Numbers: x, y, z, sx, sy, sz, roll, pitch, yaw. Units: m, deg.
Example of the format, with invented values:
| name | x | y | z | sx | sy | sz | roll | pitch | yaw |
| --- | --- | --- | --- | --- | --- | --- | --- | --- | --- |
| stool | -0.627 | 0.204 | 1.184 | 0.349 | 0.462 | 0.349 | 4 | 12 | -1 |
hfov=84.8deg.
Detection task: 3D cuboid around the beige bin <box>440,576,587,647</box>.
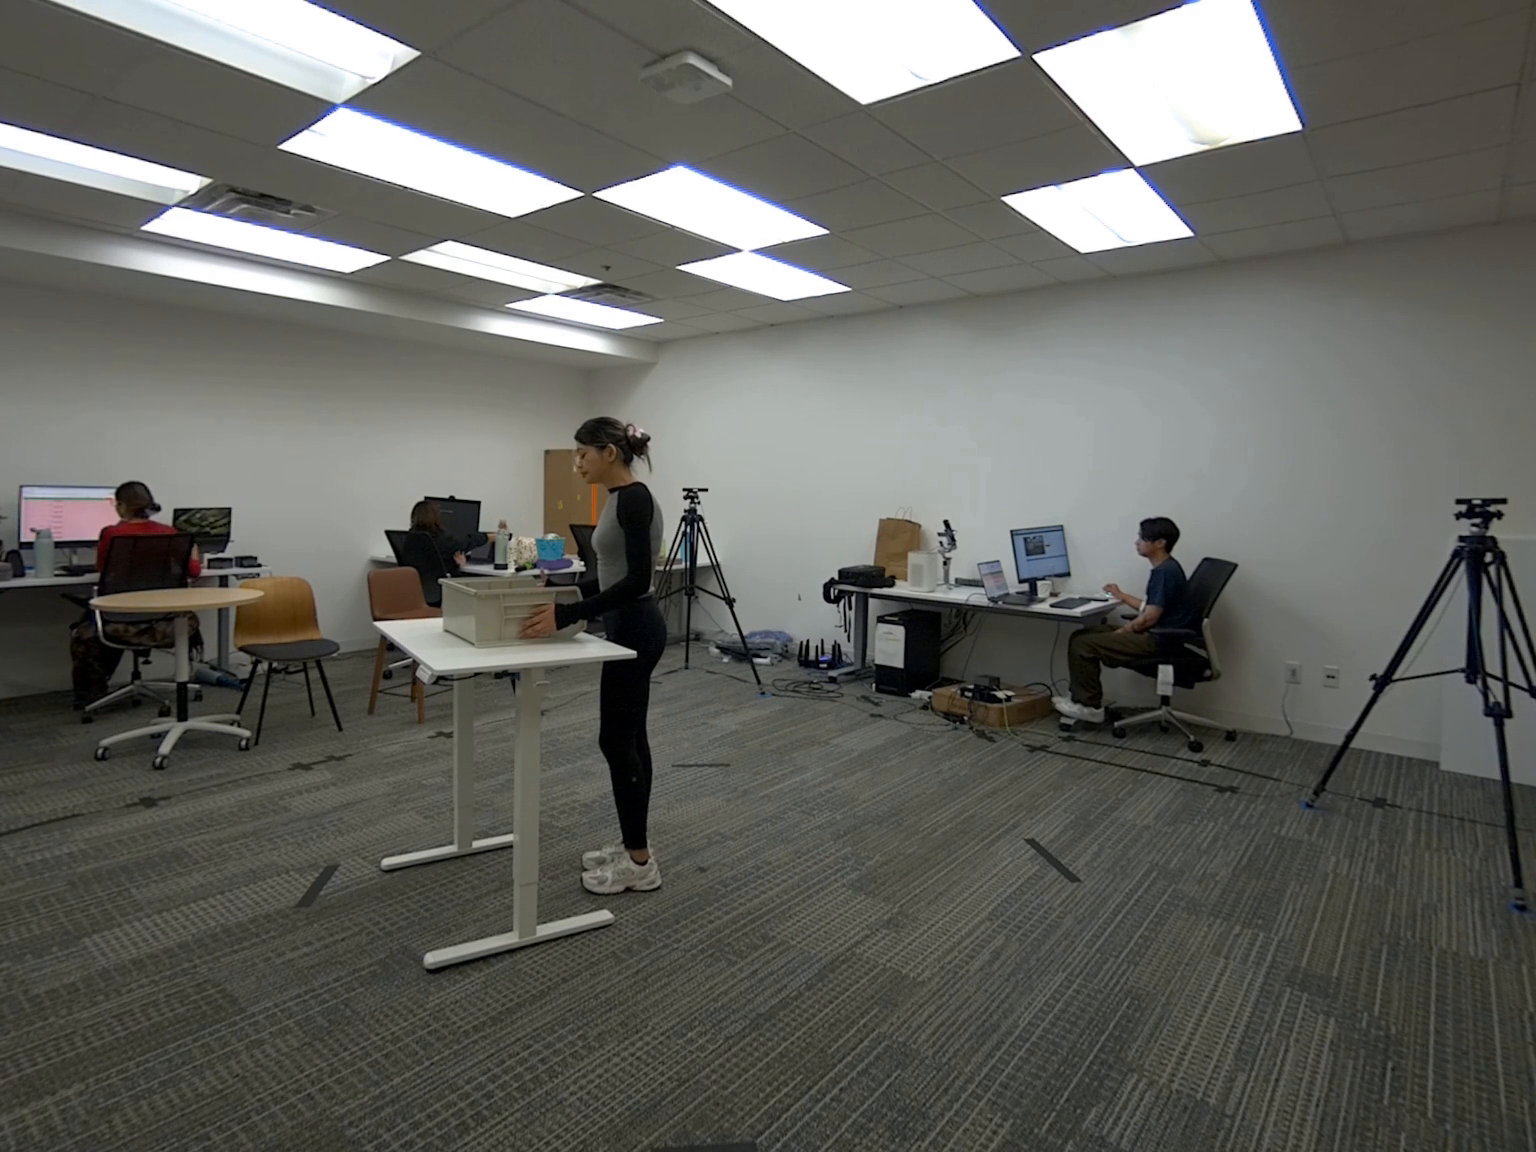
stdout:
| name | x | y | z | sx | sy | sz | roll | pitch | yaw |
| --- | --- | --- | --- | --- | --- | --- | --- | --- | --- |
| beige bin | -0.885 | 0.113 | 2.875 | 0.367 | 0.188 | 0.436 | -3 | 7 | -35 |
